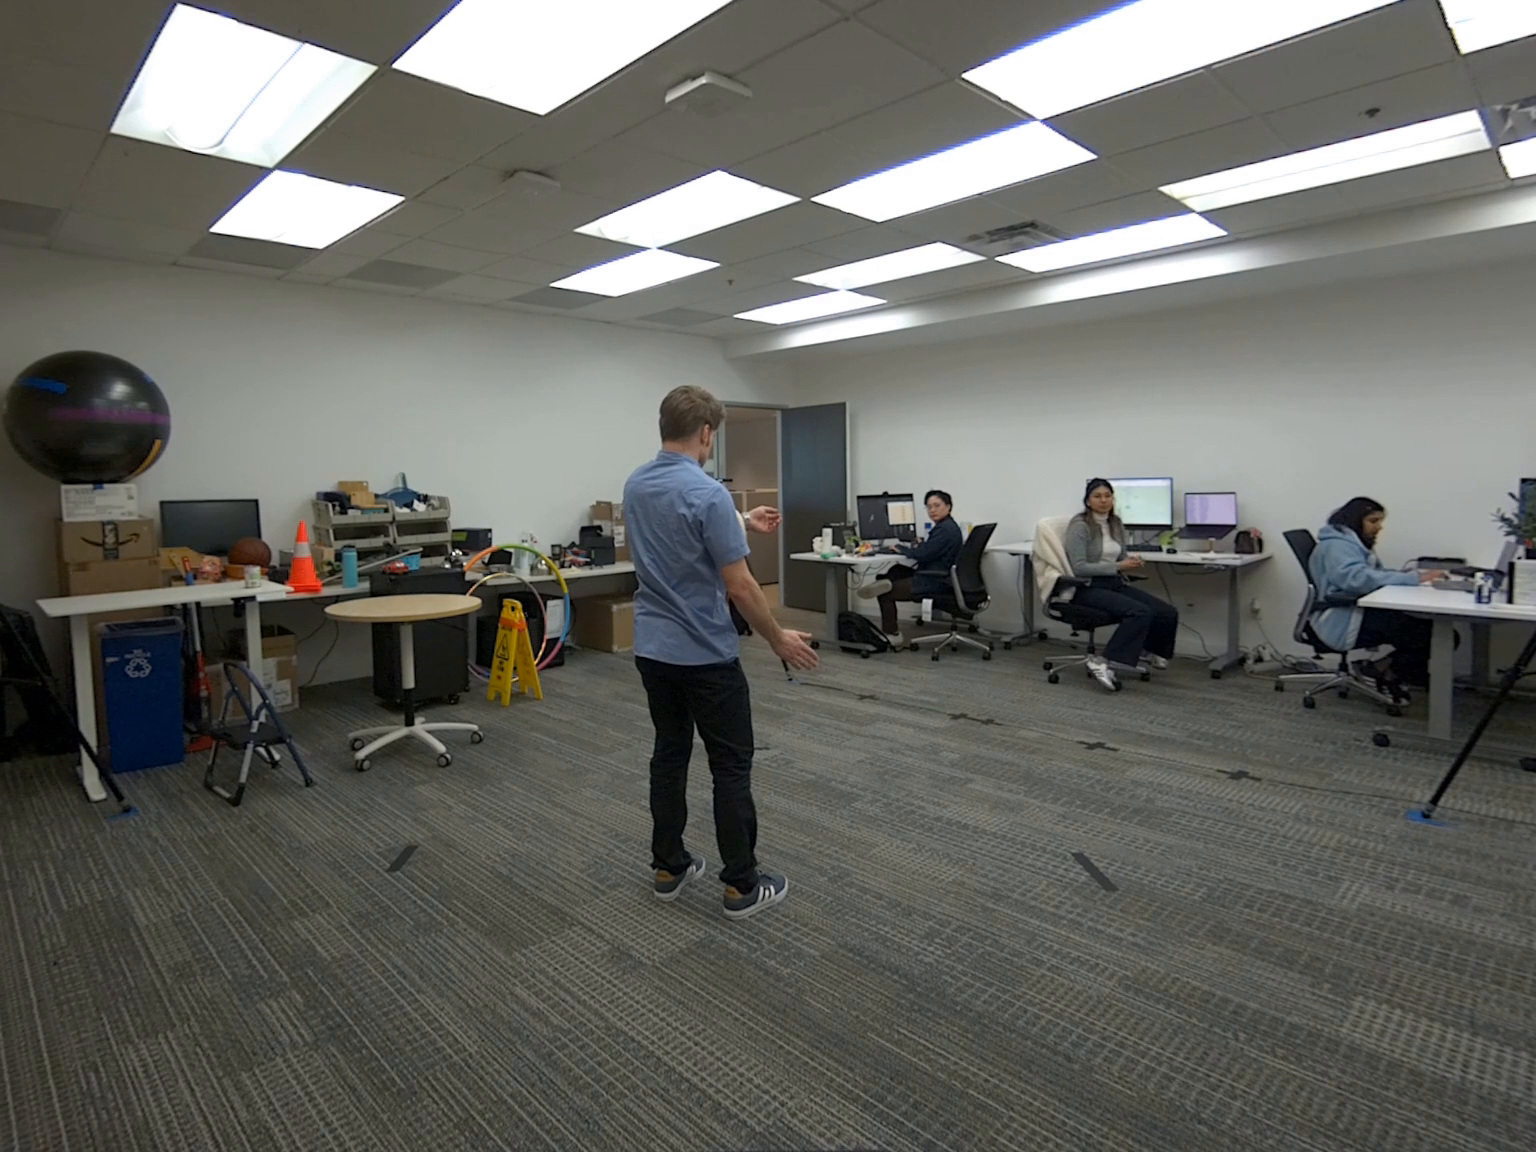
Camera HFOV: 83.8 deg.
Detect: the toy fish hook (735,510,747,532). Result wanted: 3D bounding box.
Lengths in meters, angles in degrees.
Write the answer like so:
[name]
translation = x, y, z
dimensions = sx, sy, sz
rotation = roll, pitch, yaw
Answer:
[toy fish hook]
translation = -0.155, -0.029, 3.227
dimensions = 0.047, 0.497, 0.232
rotation = 1, 31, -18
